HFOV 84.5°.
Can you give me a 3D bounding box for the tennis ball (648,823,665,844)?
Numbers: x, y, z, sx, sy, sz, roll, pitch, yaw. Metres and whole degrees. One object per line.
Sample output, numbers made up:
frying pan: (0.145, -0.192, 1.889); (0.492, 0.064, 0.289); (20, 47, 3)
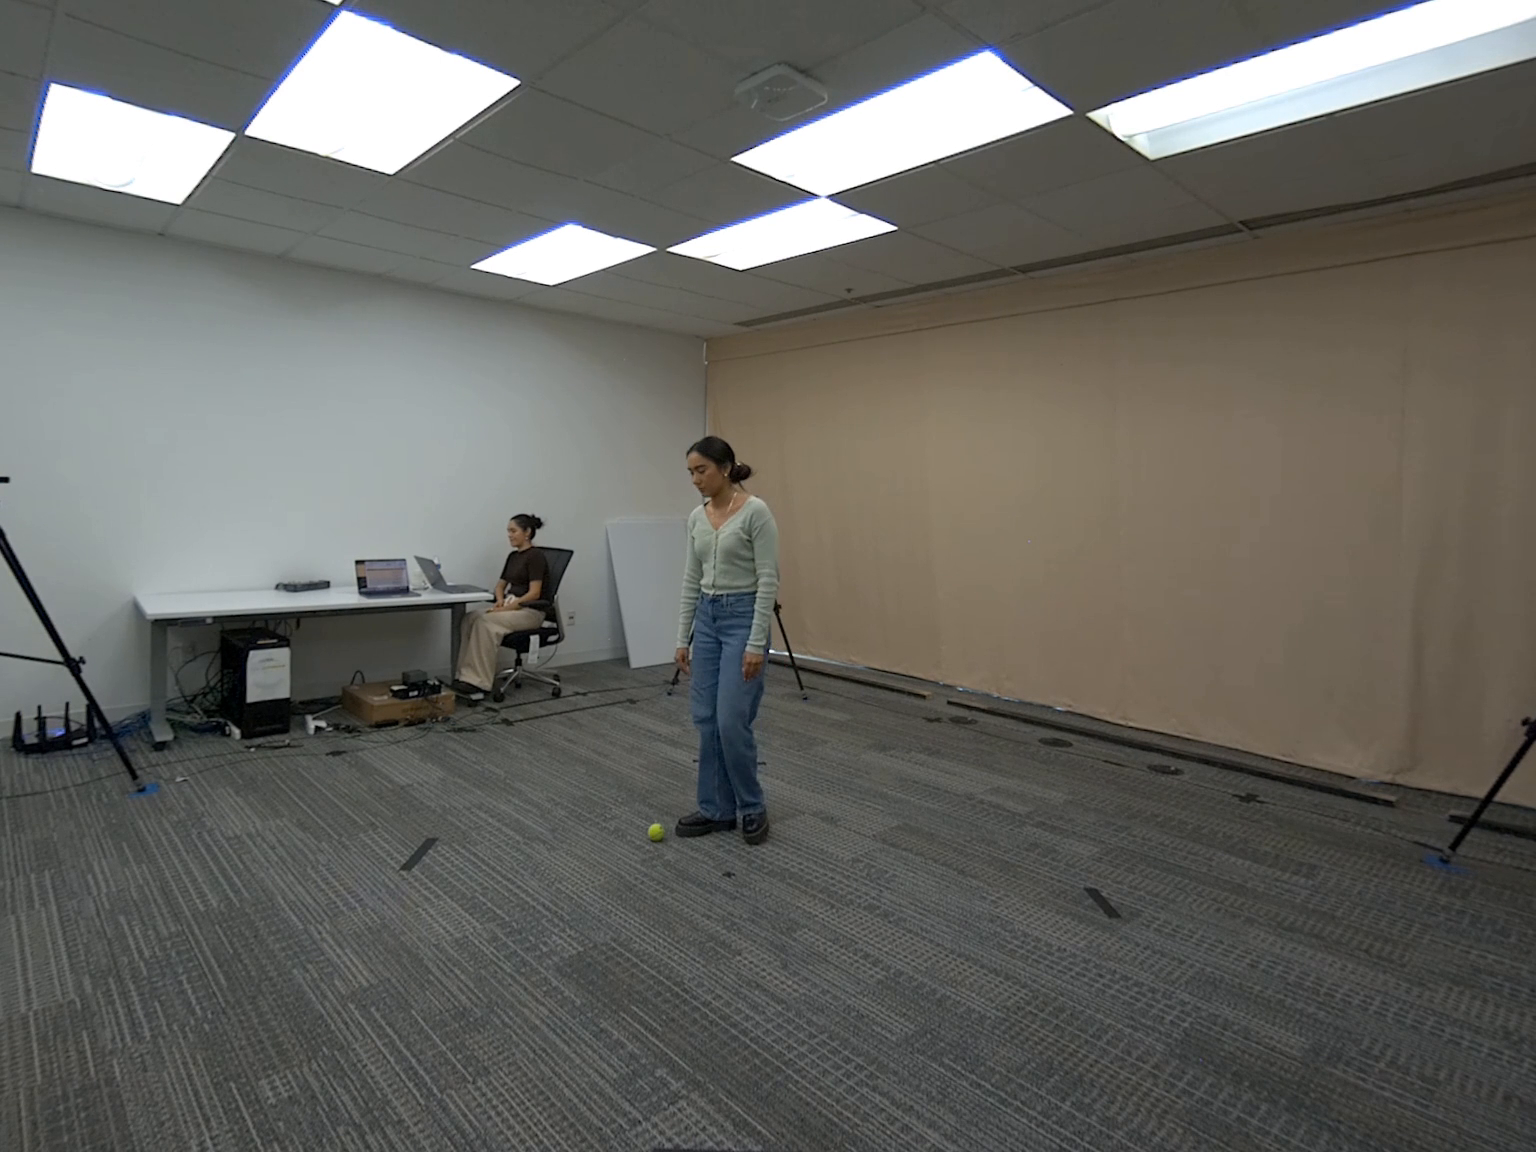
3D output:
tennis ball: (-0.465, 1.024, 3.398); (0.066, 0.066, 0.067); (1, 4, -1)
